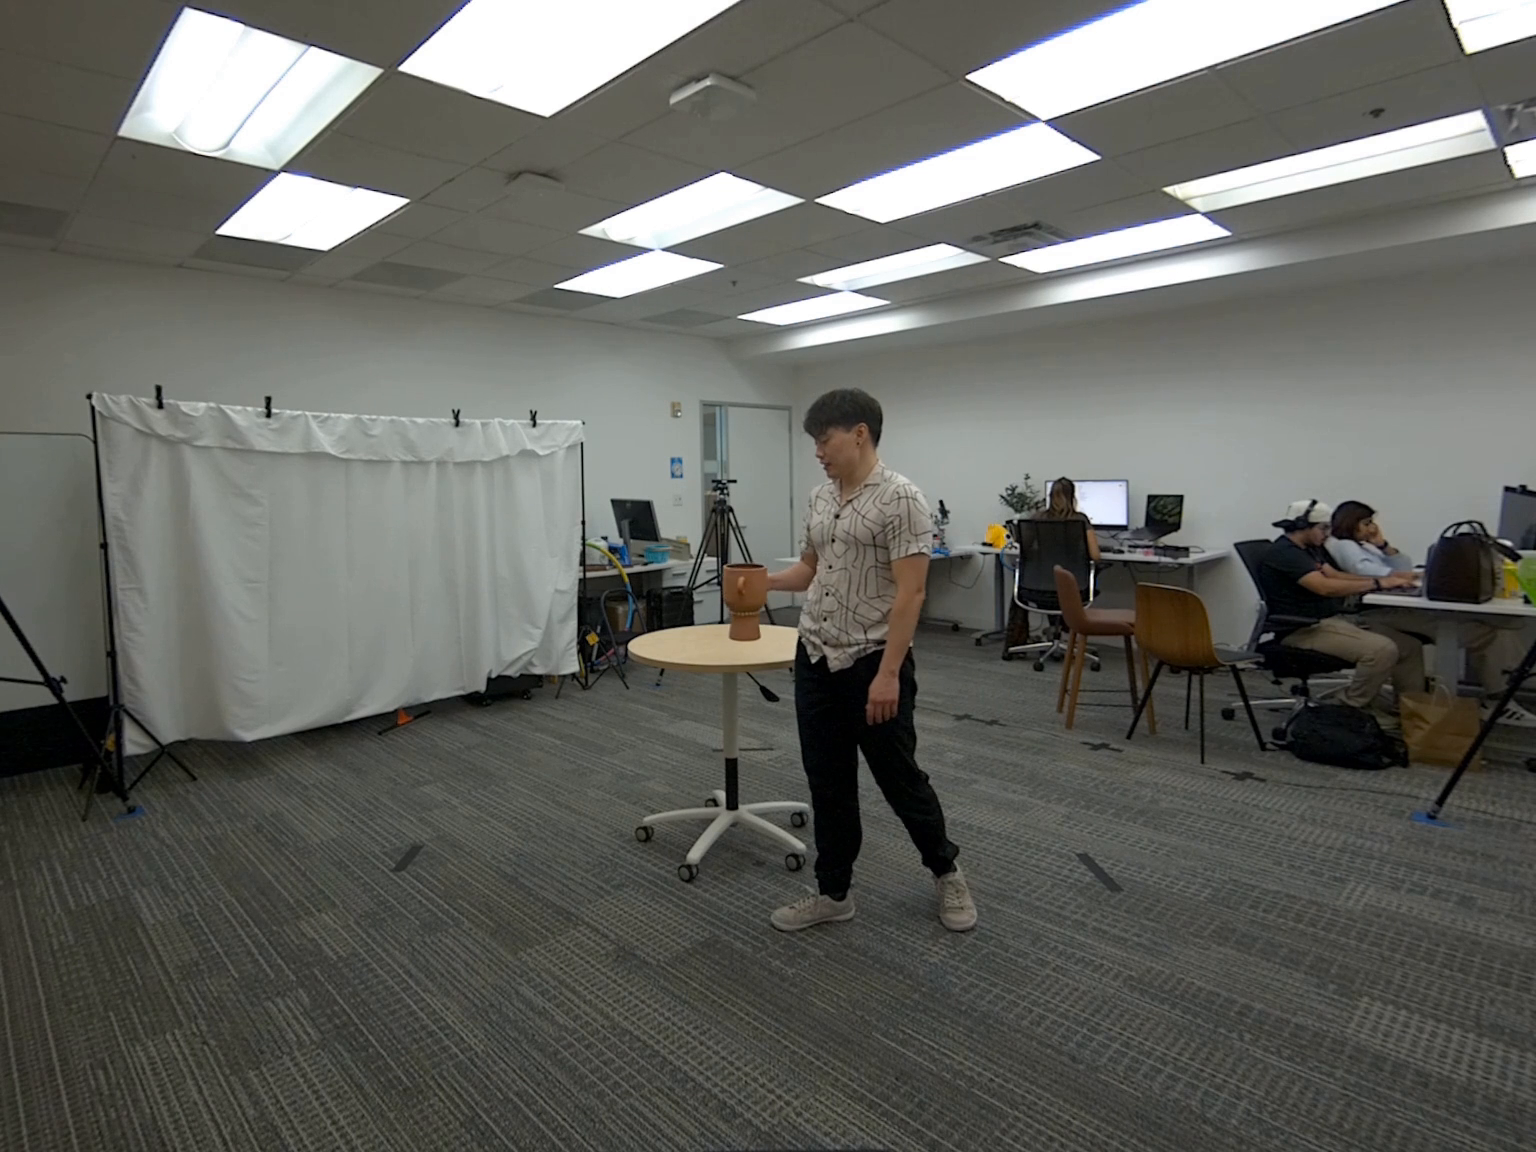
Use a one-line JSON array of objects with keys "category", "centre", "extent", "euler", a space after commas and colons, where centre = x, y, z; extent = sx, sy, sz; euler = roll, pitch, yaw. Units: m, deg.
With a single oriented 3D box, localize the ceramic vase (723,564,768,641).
[{"category": "ceramic vase", "centre": [-0.057, 0.078, 2.590], "extent": [0.155, 0.218, 0.139], "euler": [-8, 11, -42]}]
